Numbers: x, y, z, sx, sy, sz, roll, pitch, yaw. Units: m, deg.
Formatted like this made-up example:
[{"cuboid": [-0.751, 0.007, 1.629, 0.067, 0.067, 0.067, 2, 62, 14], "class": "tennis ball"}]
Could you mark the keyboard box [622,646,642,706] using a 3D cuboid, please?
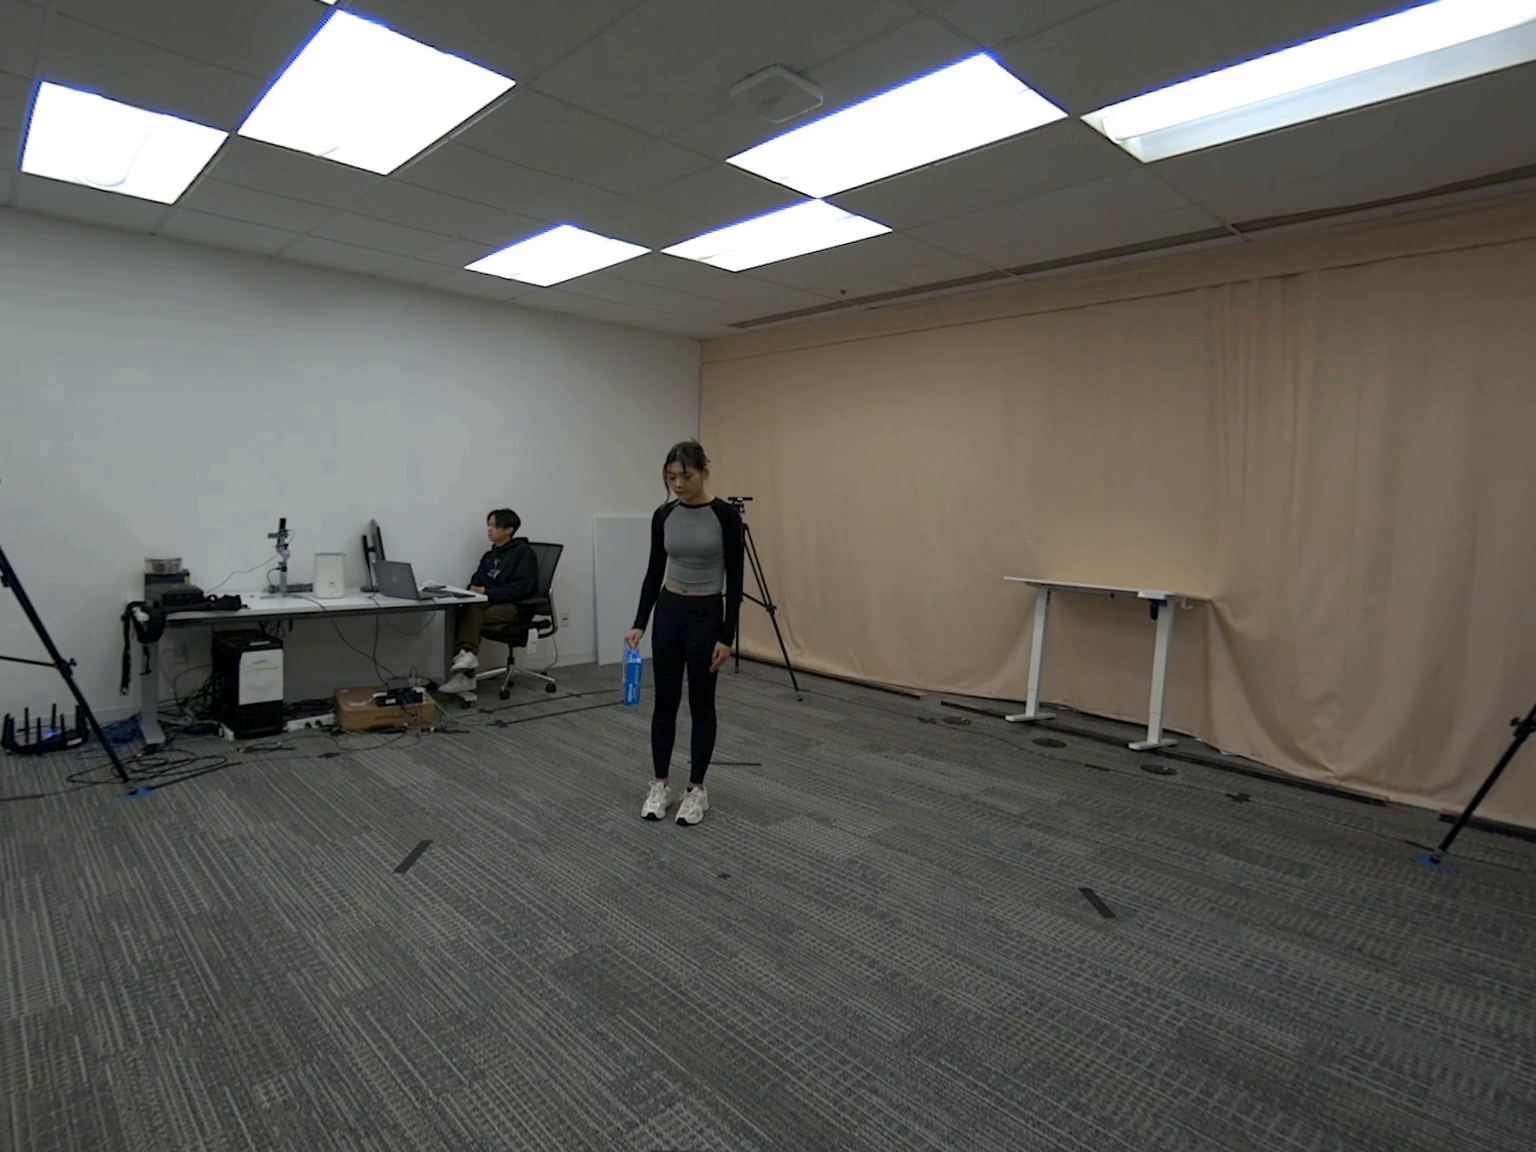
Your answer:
[{"cuboid": [-0.590, 0.404, 3.601, 0.058, 0.175, 0.442, 3, 7, -11], "class": "keyboard box"}]
